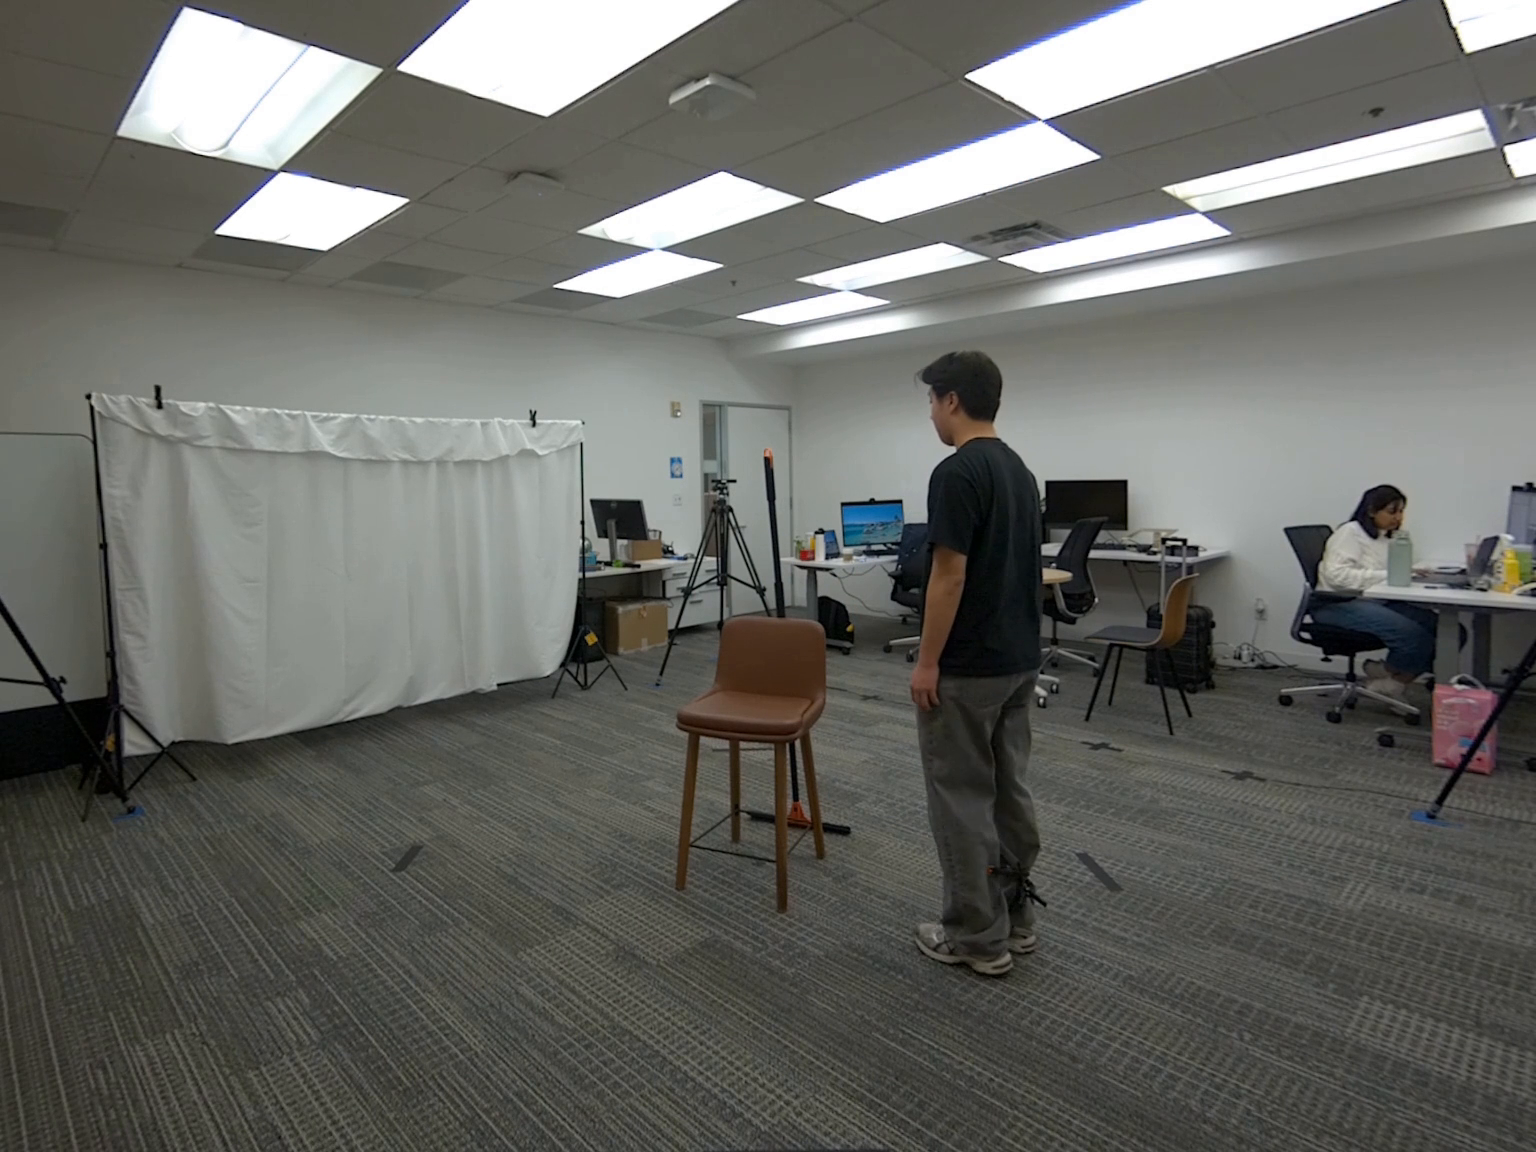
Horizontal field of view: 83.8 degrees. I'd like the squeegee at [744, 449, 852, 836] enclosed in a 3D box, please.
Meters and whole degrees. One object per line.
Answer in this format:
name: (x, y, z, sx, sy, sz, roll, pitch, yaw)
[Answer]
squeegee: (0.058, 0.272, 3.263, 0.446, 1.518, 0.052, 0, 14, 21)
